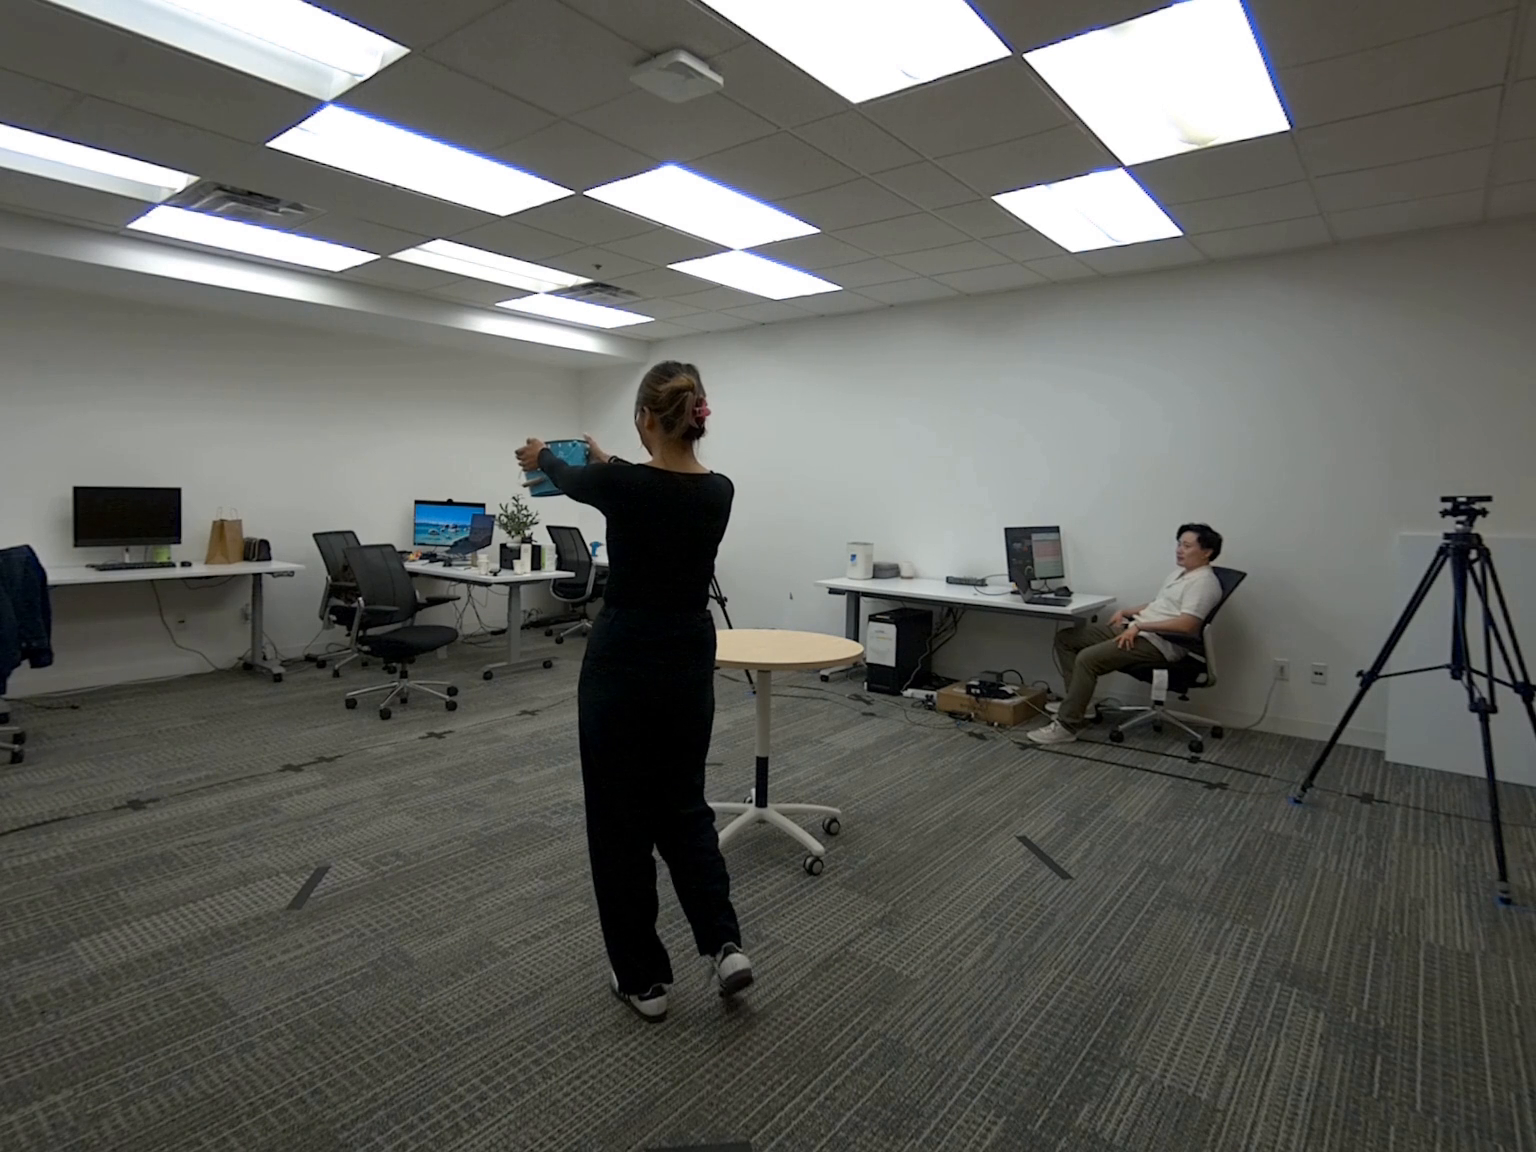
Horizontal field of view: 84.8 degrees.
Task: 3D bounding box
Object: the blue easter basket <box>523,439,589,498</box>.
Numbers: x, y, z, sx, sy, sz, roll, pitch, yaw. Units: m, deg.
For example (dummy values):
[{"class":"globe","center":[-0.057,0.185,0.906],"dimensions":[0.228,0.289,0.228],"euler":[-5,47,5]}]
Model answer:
[{"class":"blue easter basket","center":[-0.695,-0.343,2.752],"dimensions":[0.243,0.156,0.244],"euler":[-4,2,-2]}]
